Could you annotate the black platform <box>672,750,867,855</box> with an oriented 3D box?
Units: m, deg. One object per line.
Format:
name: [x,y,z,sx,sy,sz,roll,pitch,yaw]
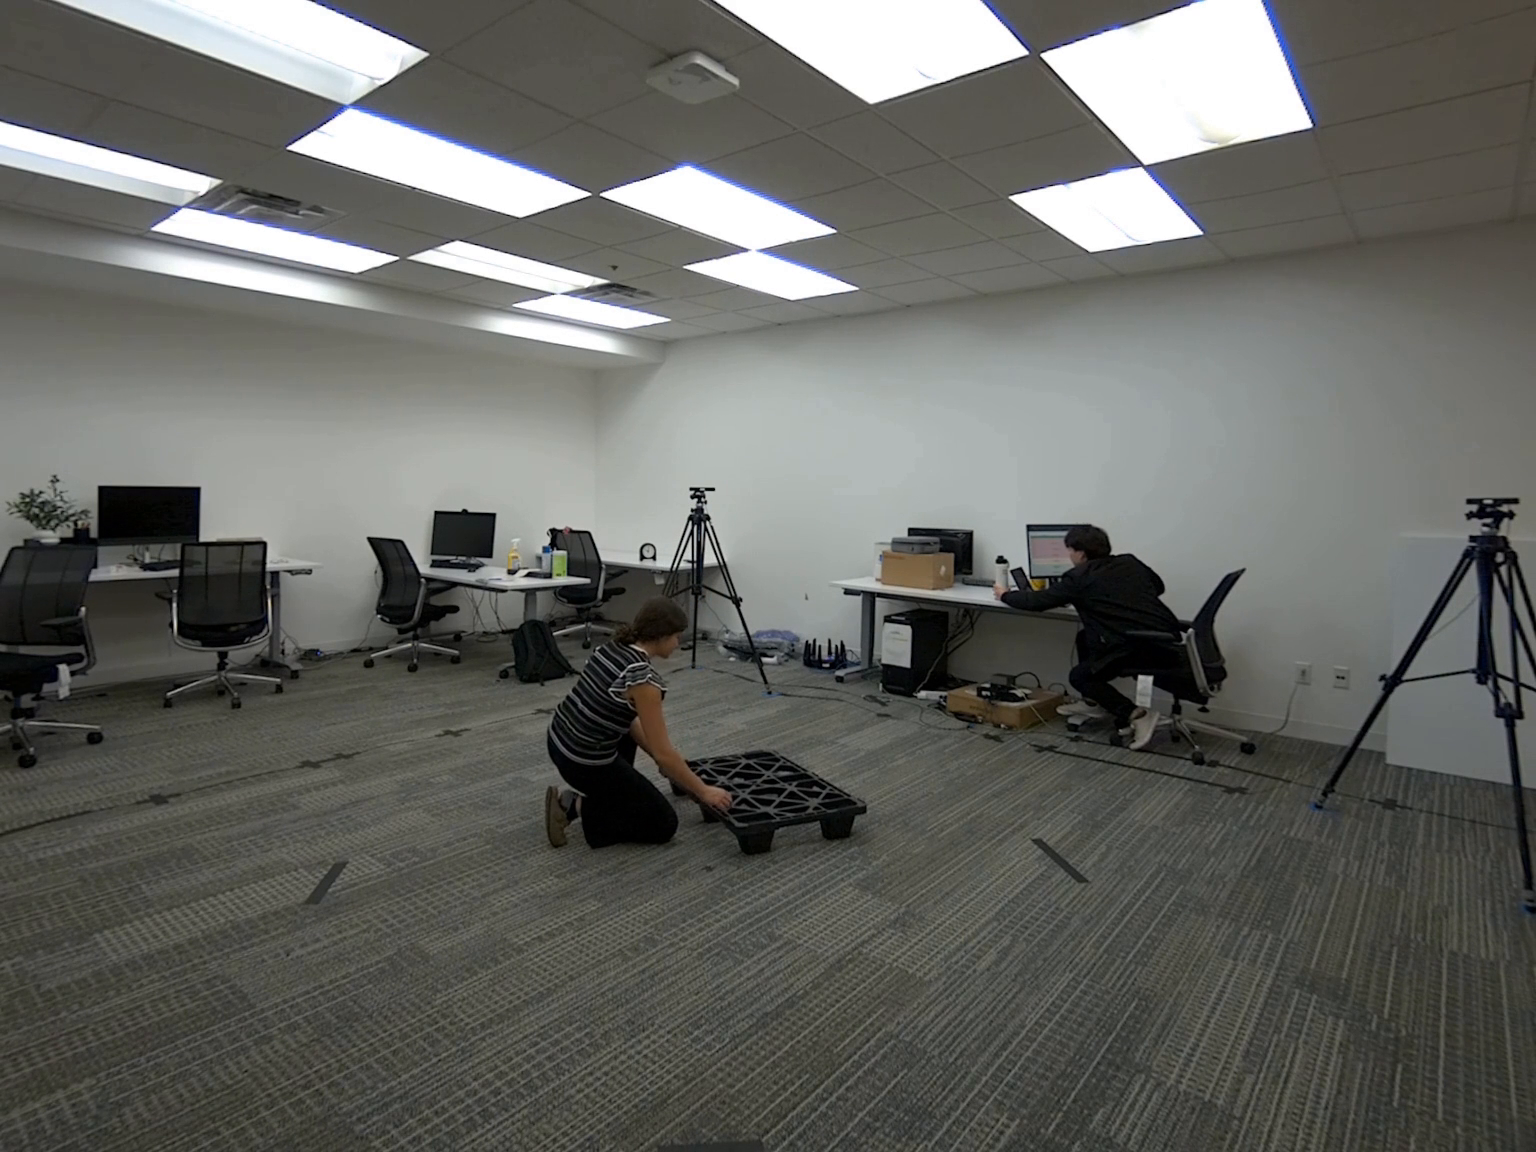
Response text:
black platform: [-0.058,0.953,3.653,0.590,0.143,0.829,-1,6,-28]
